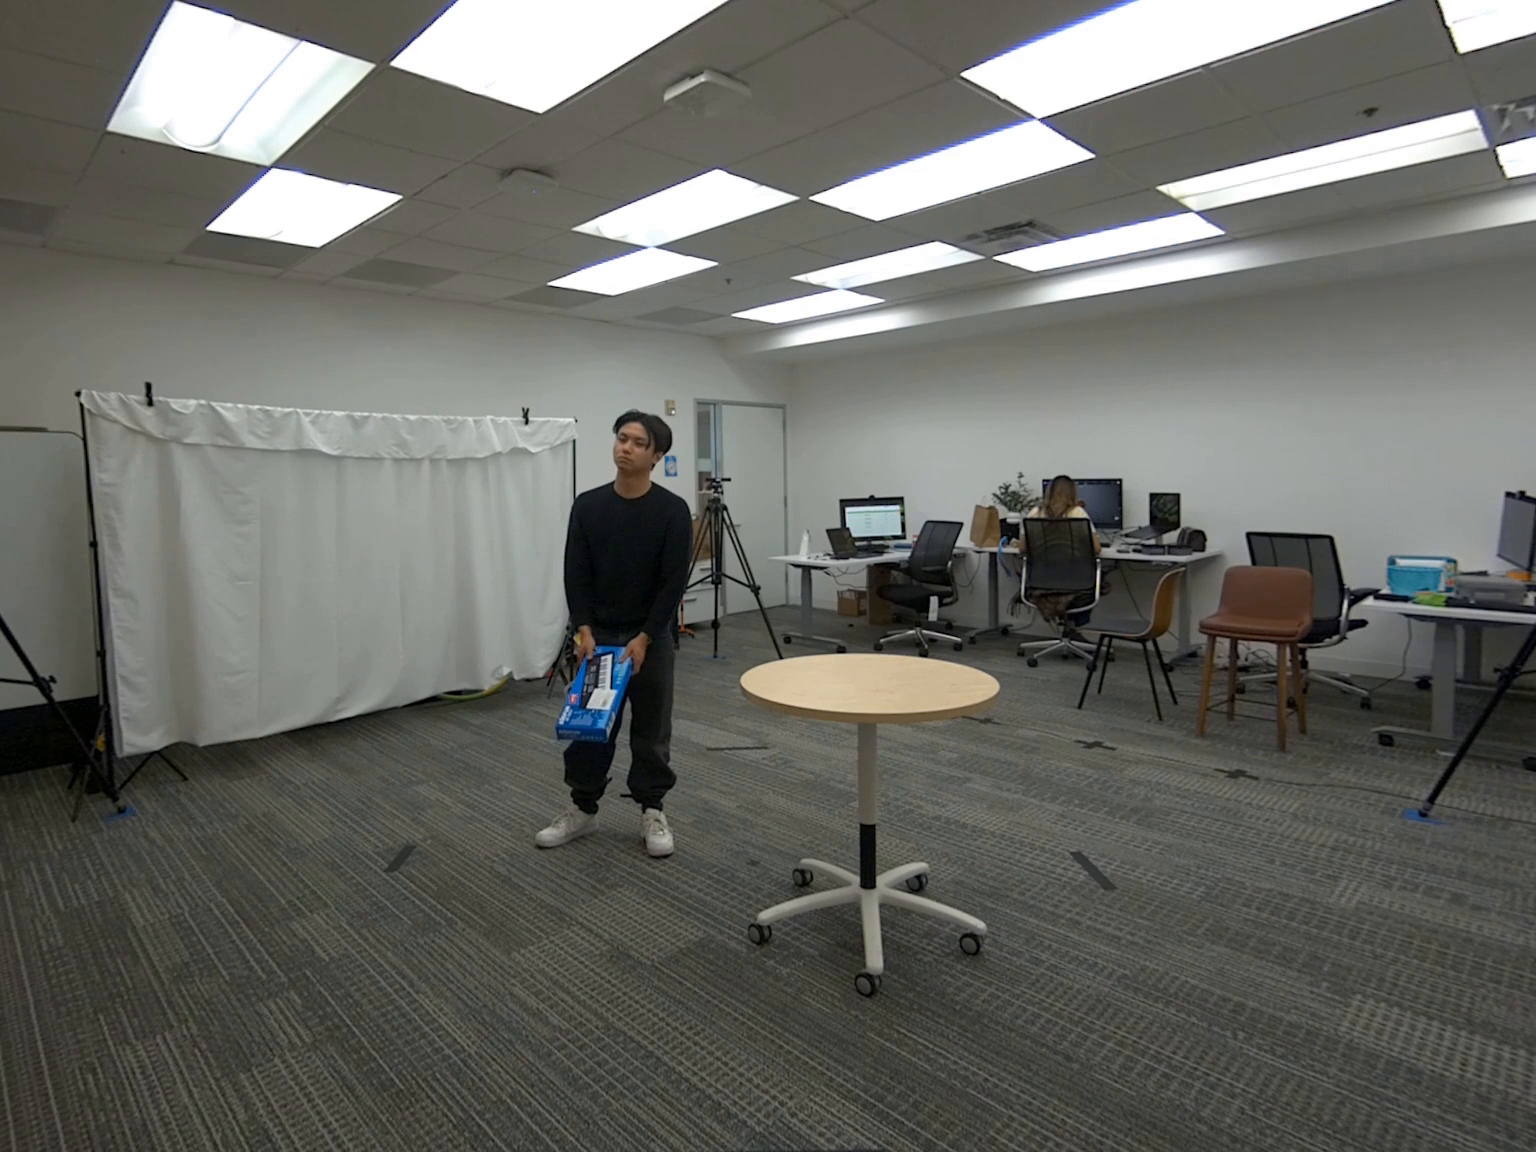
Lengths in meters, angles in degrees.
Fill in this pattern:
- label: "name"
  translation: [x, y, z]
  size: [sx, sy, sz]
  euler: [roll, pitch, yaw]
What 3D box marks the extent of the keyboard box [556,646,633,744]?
- label: "keyboard box"
  translation: [-0.588, 0.400, 2.975]
  size: [0.177, 0.058, 0.445]
  euler: [-1, 30, 4]
